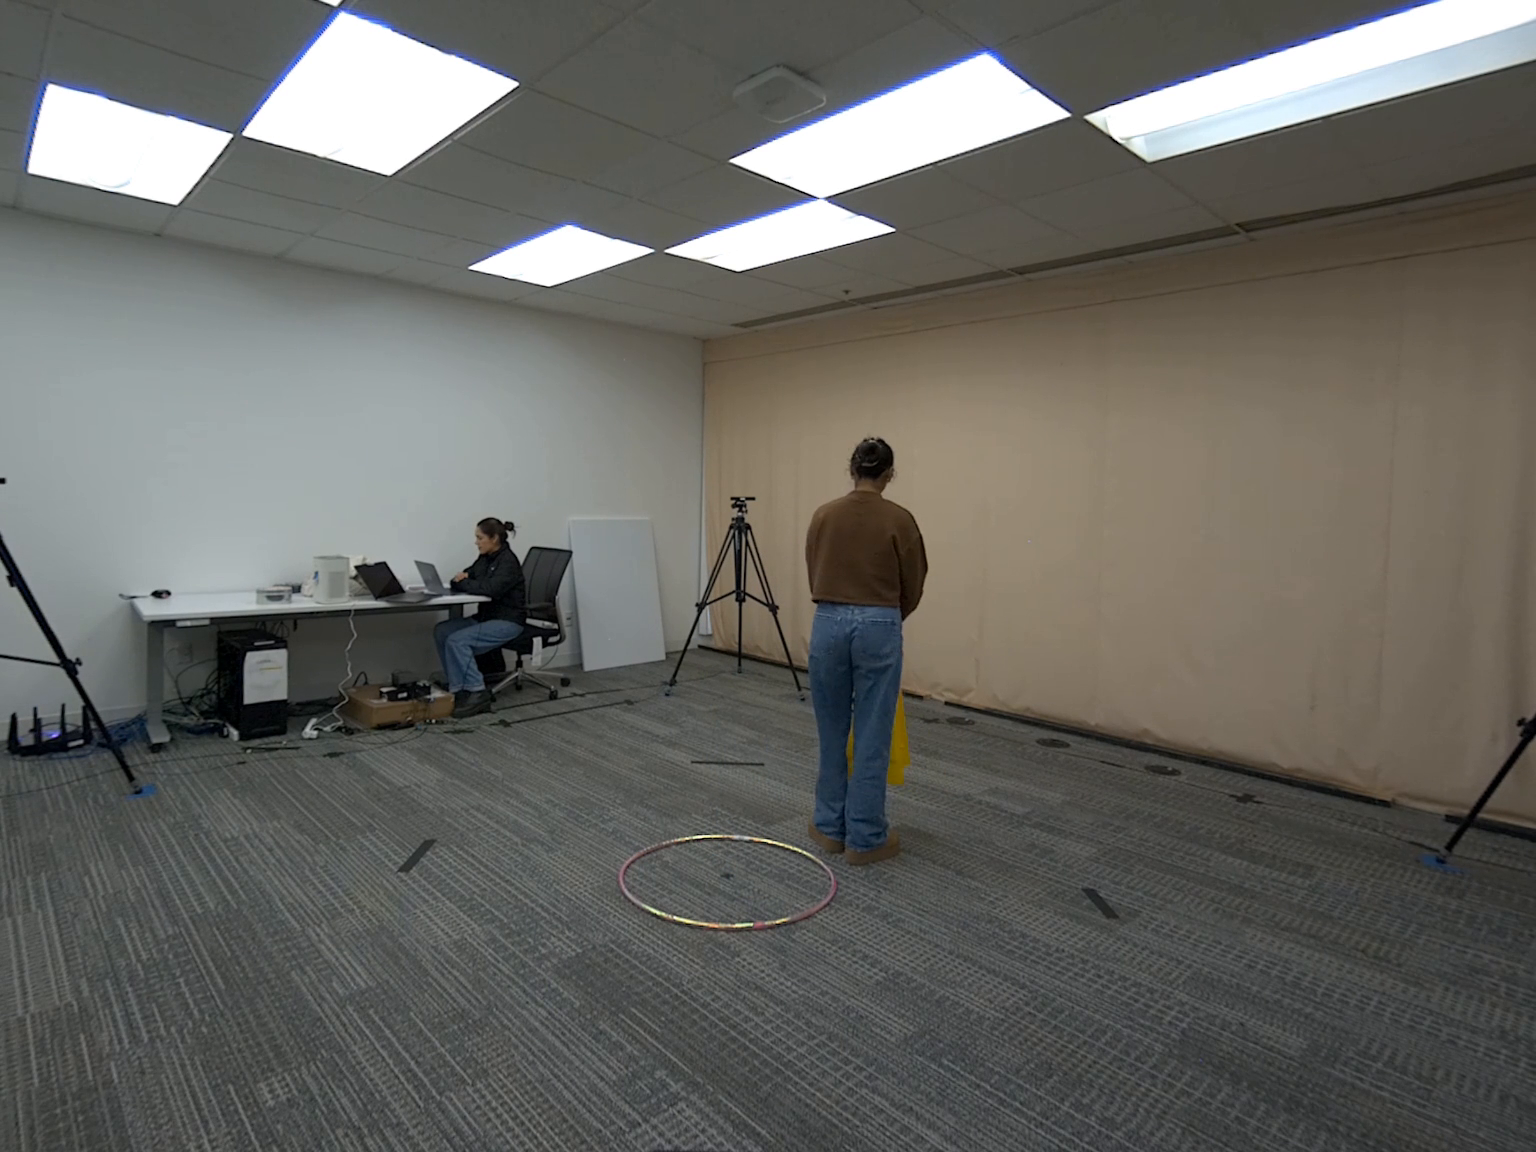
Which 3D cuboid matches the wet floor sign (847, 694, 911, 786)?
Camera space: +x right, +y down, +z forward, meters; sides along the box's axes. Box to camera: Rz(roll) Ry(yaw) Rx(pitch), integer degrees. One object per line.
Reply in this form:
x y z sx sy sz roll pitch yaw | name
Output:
0.439 0.528 3.610 0.286 0.645 0.286 0 2 17 | wet floor sign
